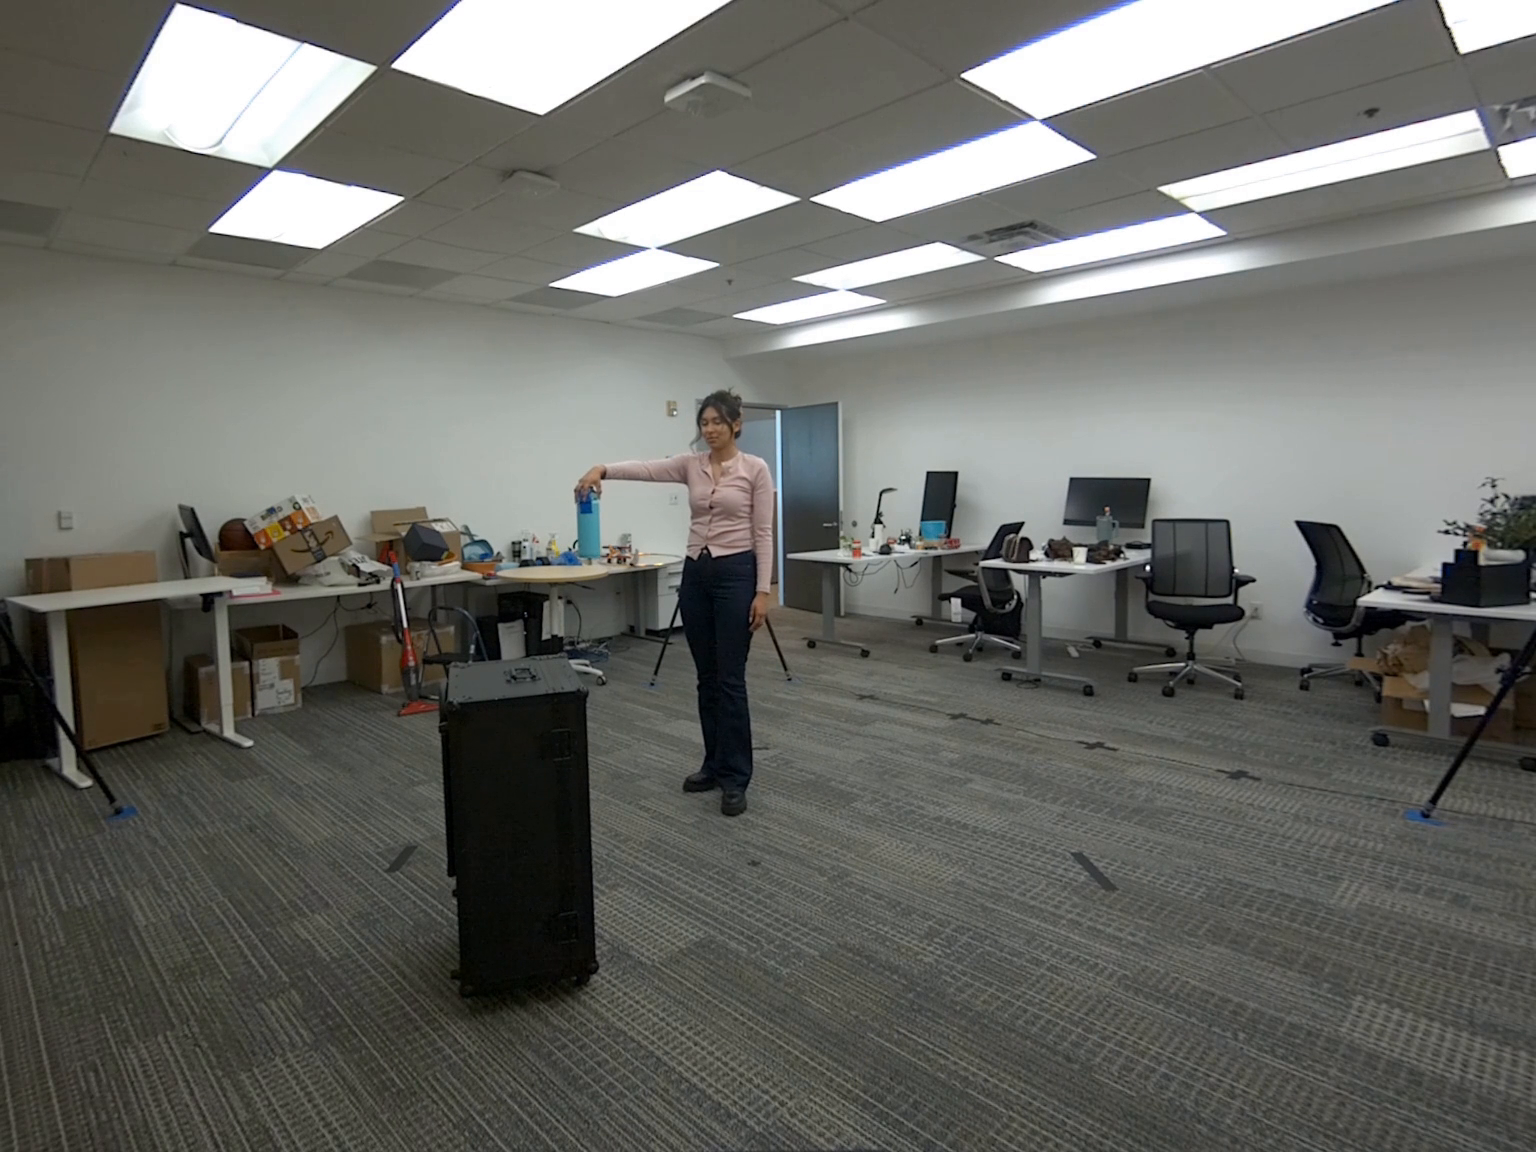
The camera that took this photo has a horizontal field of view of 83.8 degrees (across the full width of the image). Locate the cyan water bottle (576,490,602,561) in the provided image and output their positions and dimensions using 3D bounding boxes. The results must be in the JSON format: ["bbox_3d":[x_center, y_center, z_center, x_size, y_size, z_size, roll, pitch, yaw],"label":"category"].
[{"bbox_3d":[-0.711,-0.216,3.385,0.092,0.282,0.093,-2,4,-1],"label":"cyan water bottle"}]
